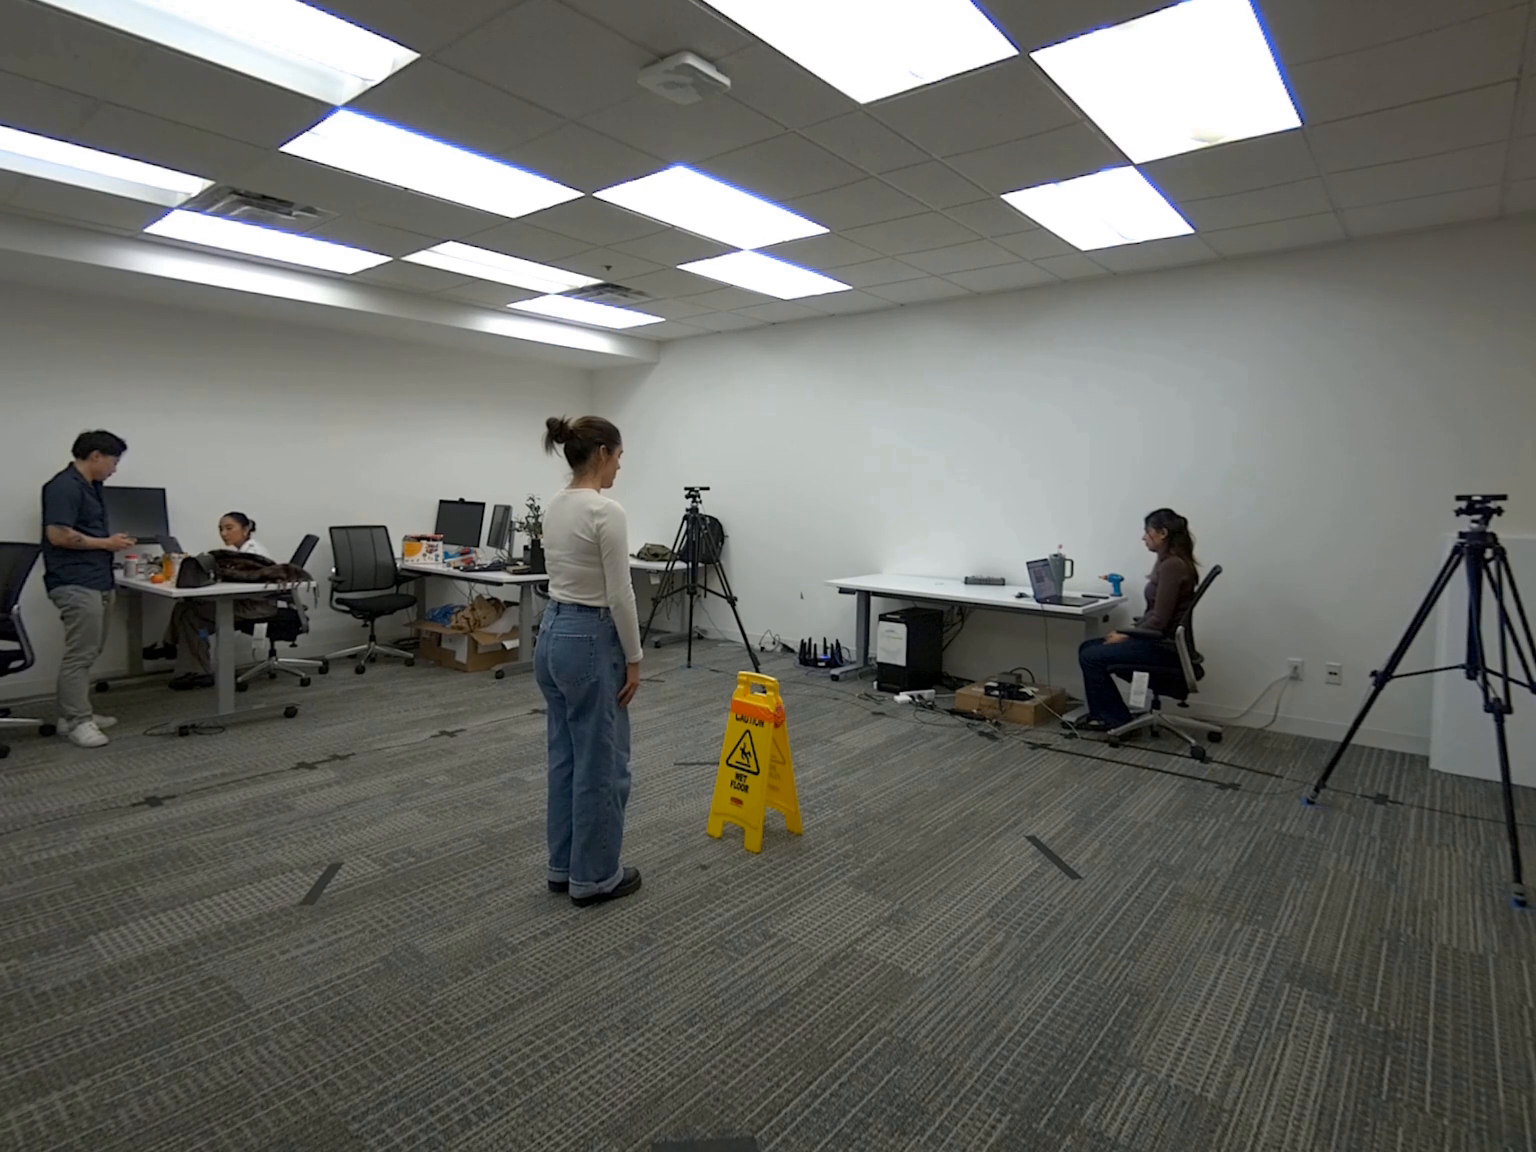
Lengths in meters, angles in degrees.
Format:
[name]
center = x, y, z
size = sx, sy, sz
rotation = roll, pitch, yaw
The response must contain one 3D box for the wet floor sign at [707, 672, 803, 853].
[wet floor sign]
center = -0.058, 0.710, 3.412
size = 0.292, 0.644, 0.281
rotation = 3, 4, 42
